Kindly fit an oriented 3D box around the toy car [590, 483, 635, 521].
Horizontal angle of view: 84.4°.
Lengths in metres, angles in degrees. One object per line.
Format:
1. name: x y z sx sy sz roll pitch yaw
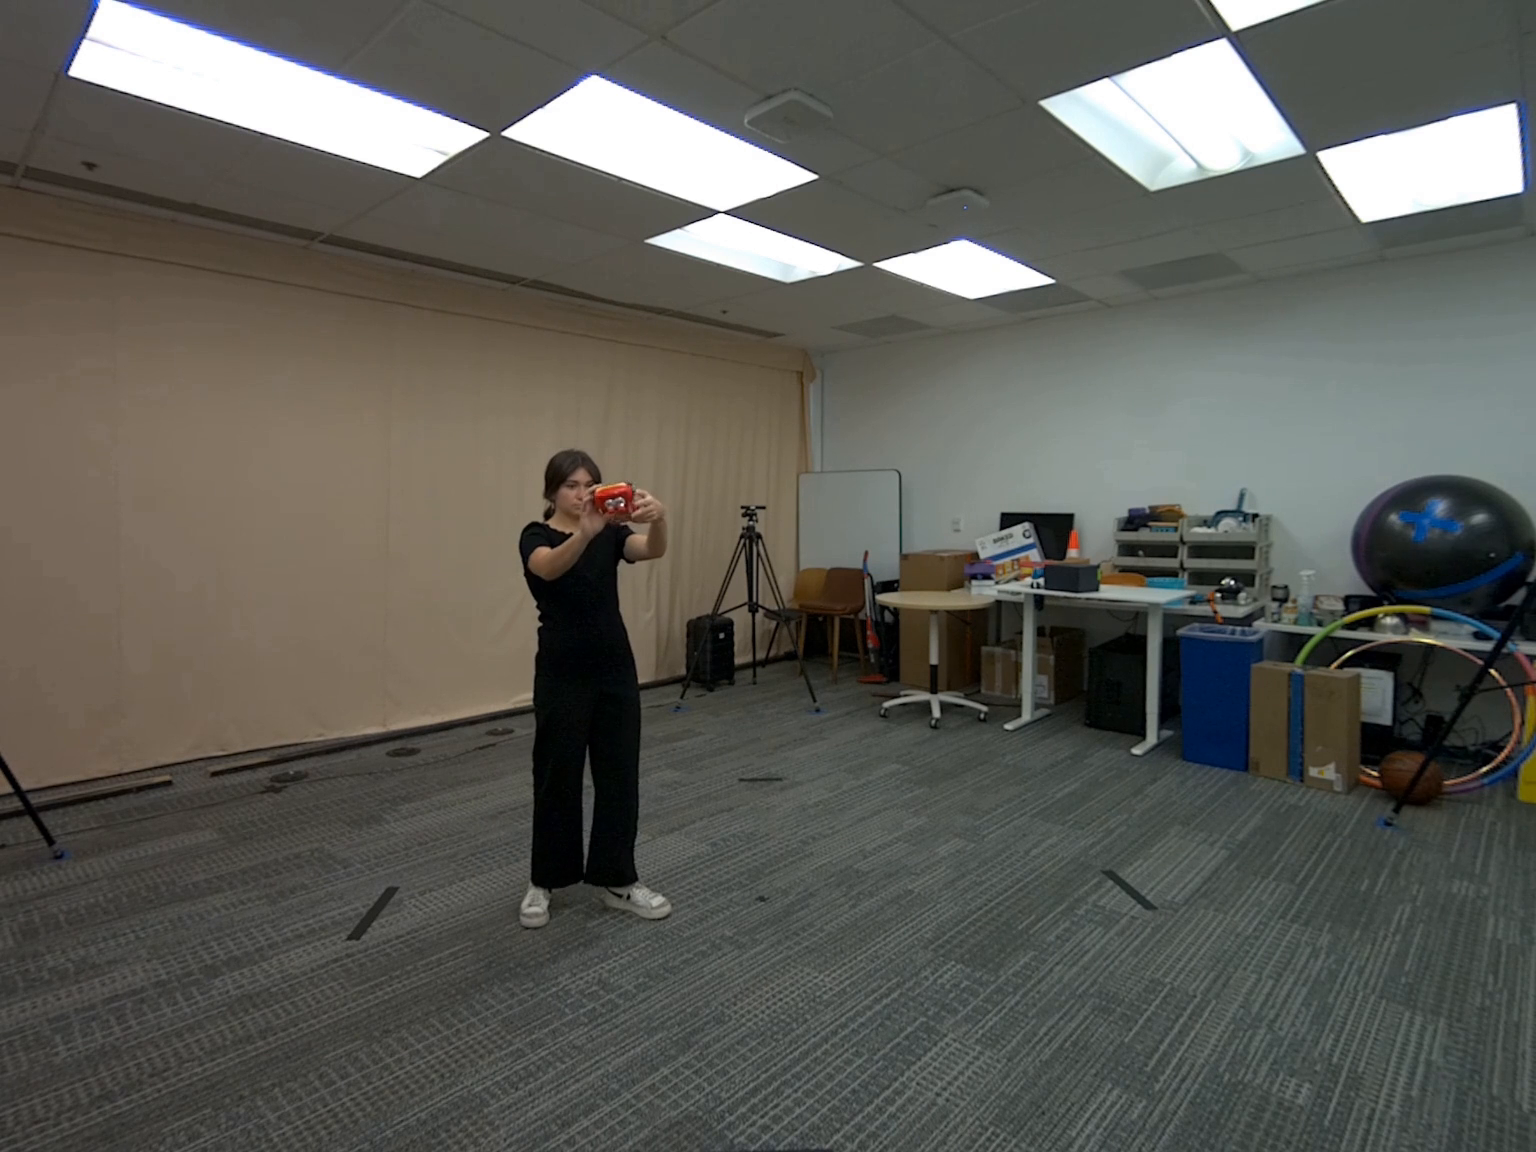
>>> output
1. toy car: -0.433 -0.212 2.430 0.130 0.083 0.253 -12 -5 -1
